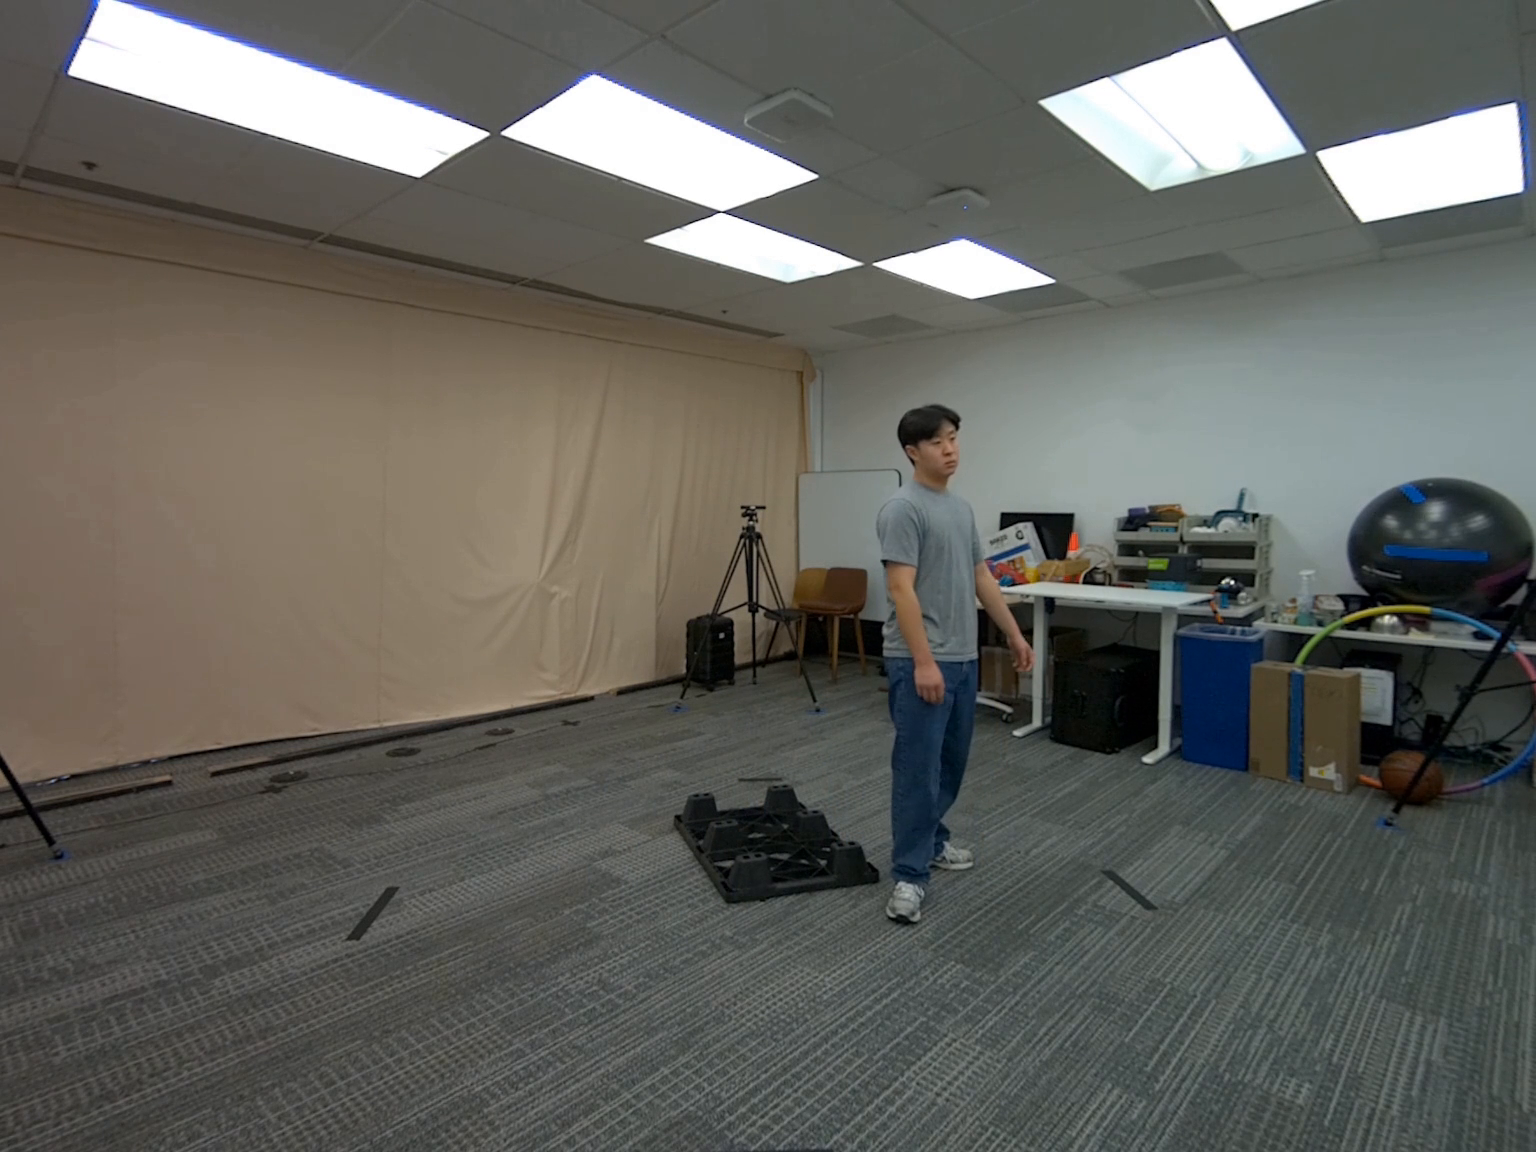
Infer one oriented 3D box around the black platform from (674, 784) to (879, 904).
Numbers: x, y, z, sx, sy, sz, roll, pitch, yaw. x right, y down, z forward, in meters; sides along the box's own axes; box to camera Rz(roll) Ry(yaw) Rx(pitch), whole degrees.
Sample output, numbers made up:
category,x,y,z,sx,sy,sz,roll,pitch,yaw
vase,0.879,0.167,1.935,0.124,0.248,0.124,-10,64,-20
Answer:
category,x,y,z,sx,sy,sz,roll,pitch,yaw
black platform,-0.003,1.040,3.398,0.594,0.143,0.823,-1,4,-20
